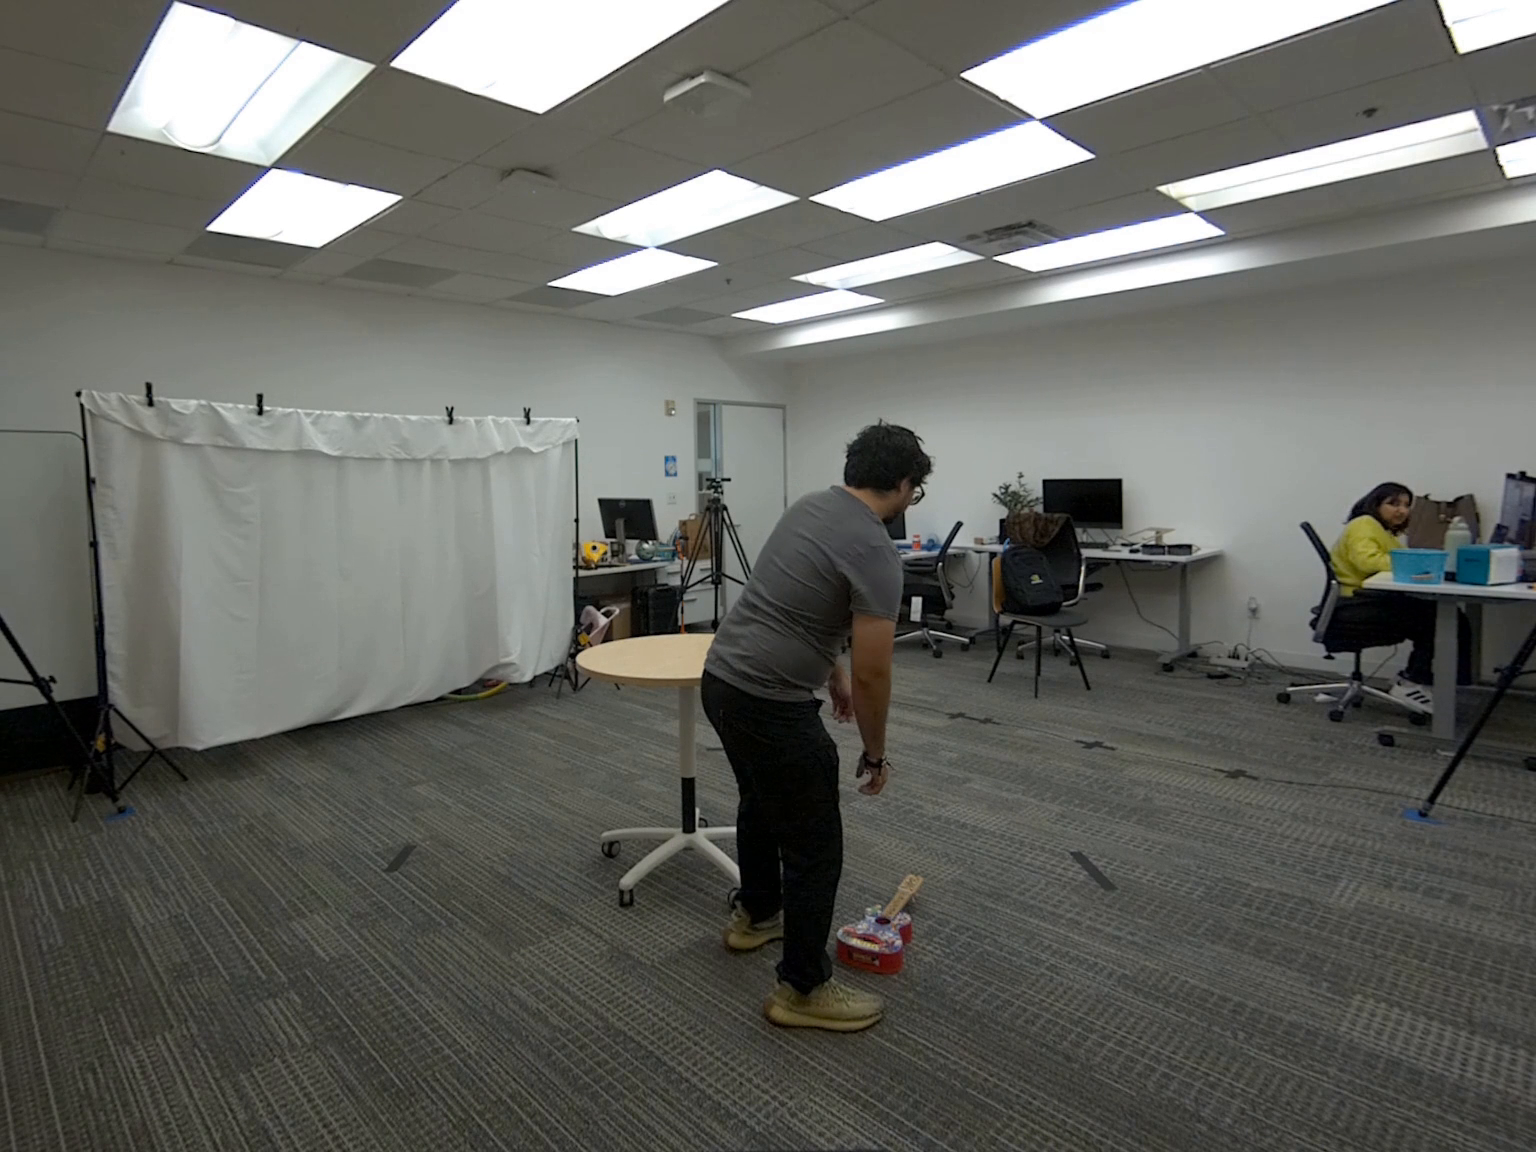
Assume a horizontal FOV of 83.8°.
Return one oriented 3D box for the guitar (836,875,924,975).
[{"bbox_3d":[0.412,1.058,2.616,0.199,0.070,0.486,4,9,37],"label":"guitar"}]
